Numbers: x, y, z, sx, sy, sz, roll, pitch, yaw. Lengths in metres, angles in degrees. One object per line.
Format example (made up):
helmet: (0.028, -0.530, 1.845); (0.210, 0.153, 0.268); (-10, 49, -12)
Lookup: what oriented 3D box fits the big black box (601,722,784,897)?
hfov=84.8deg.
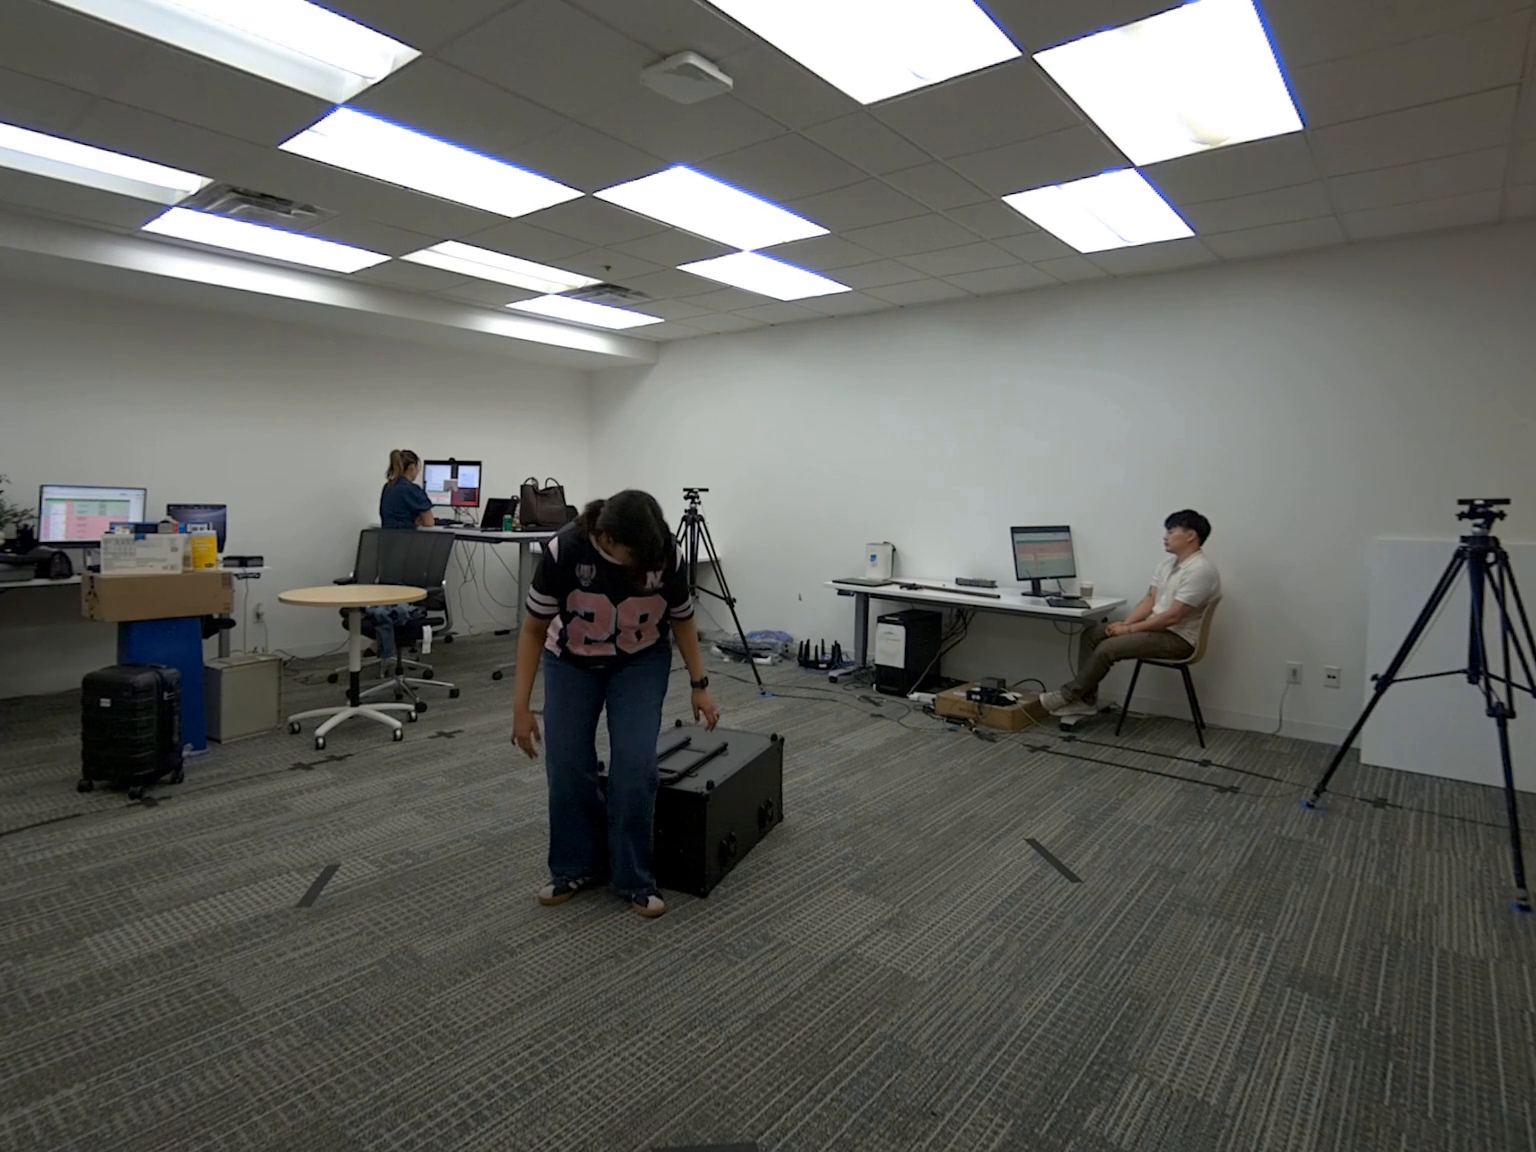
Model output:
big black box: (-0.298, 0.856, 3.361); (0.535, 0.384, 0.852); (1, 5, 21)
